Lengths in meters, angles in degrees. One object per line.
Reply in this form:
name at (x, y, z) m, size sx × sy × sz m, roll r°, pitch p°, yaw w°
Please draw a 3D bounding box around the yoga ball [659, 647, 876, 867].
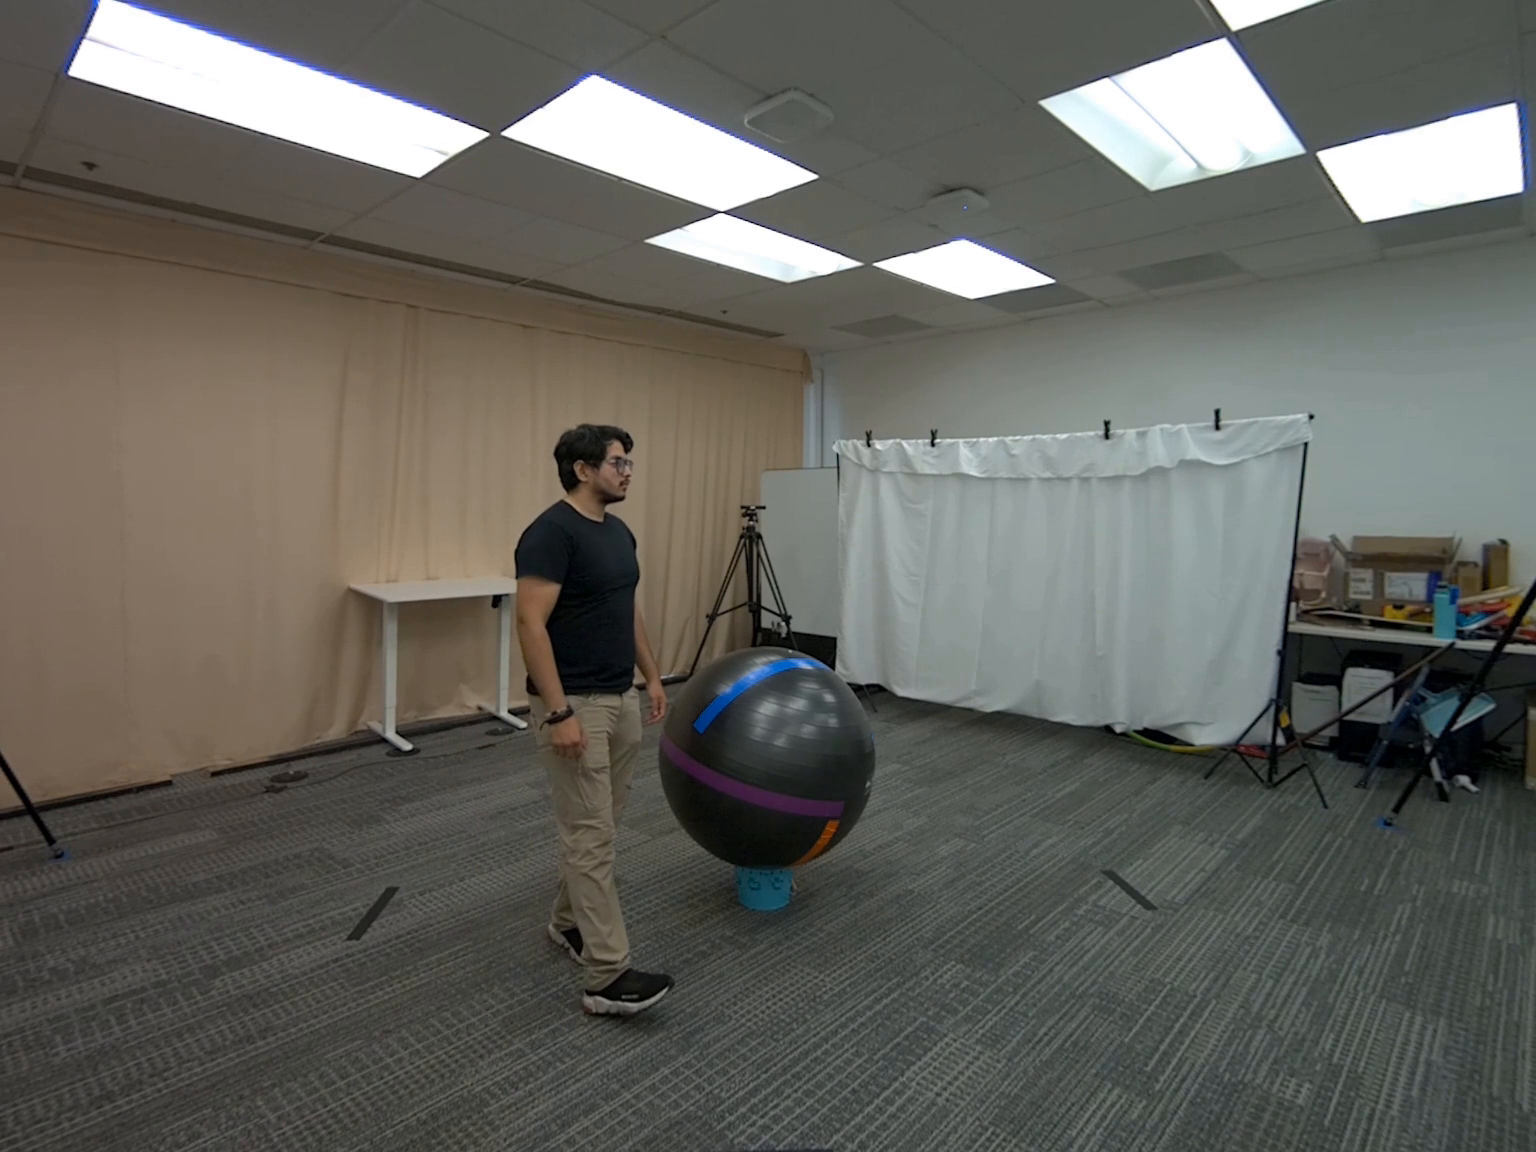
yoga ball at (0.006, 0.637, 2.968) m, size 0.757 × 0.756 × 0.760 m, roll 0°, pitch 4°, yaw -2°
